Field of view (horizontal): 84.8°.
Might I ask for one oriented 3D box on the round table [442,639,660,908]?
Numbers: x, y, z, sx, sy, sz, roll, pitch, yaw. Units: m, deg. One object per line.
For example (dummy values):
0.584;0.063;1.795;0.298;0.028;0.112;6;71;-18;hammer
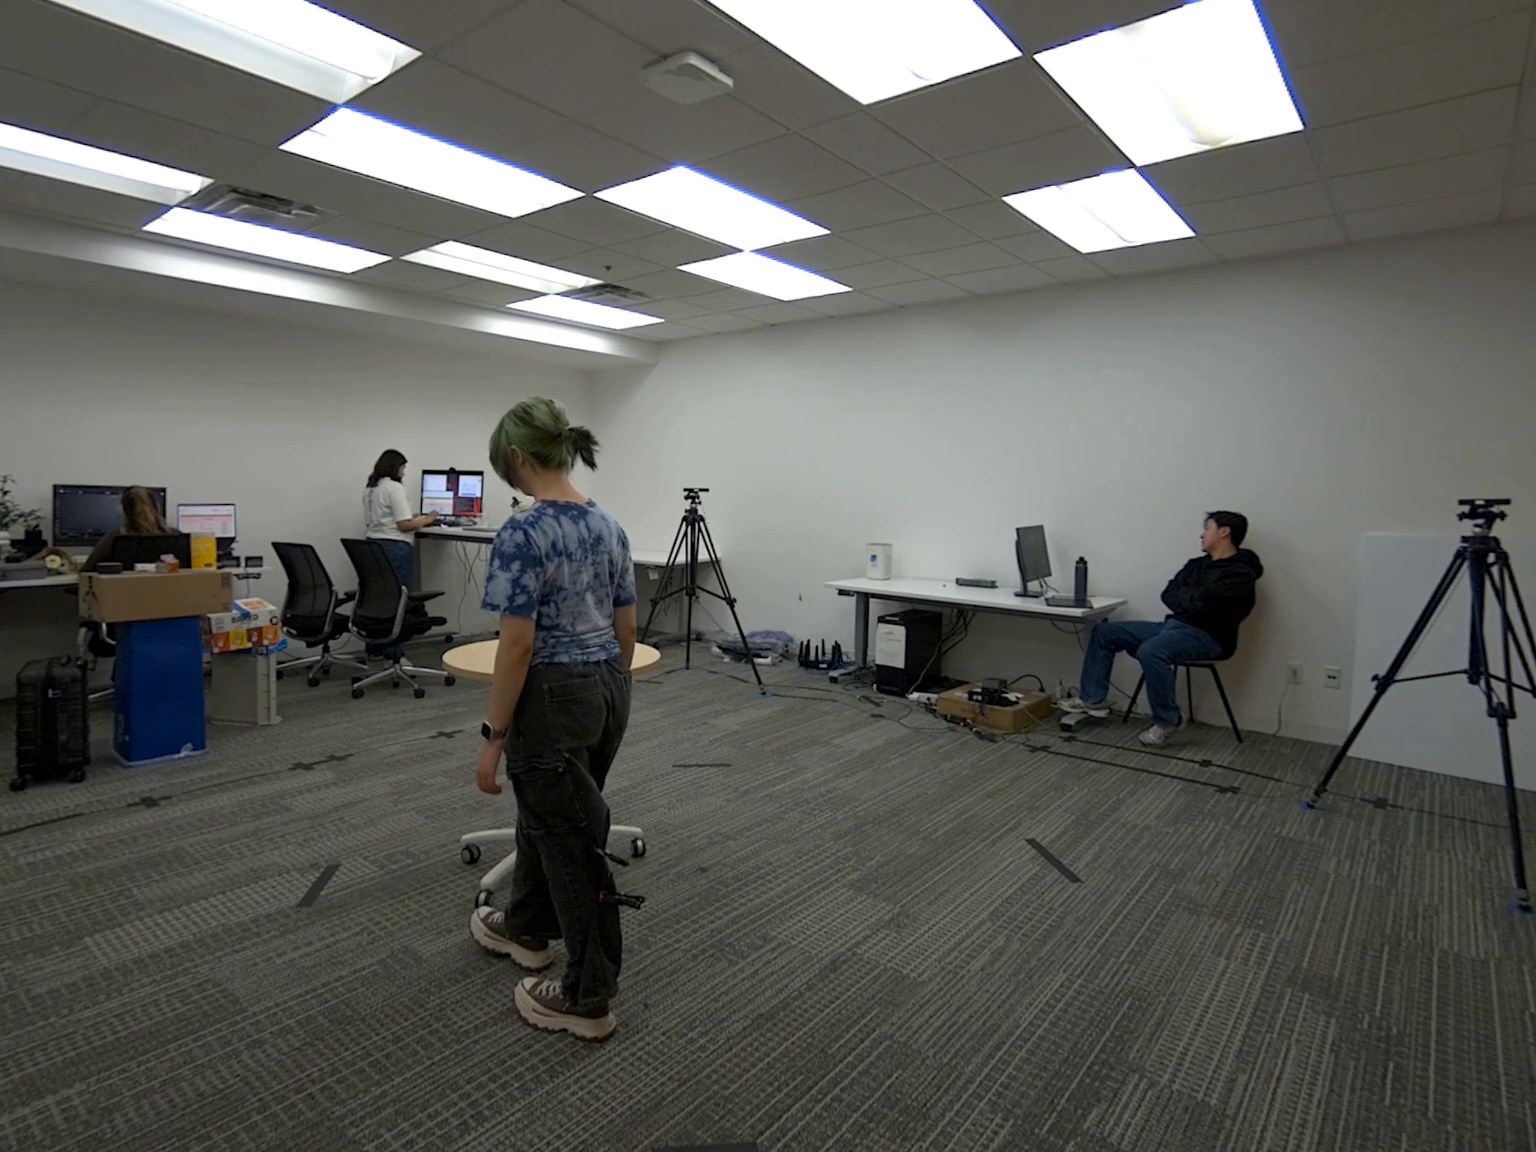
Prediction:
-0.783;0.671;3.069;0.763;0.792;0.767;1;4;-2;round table
